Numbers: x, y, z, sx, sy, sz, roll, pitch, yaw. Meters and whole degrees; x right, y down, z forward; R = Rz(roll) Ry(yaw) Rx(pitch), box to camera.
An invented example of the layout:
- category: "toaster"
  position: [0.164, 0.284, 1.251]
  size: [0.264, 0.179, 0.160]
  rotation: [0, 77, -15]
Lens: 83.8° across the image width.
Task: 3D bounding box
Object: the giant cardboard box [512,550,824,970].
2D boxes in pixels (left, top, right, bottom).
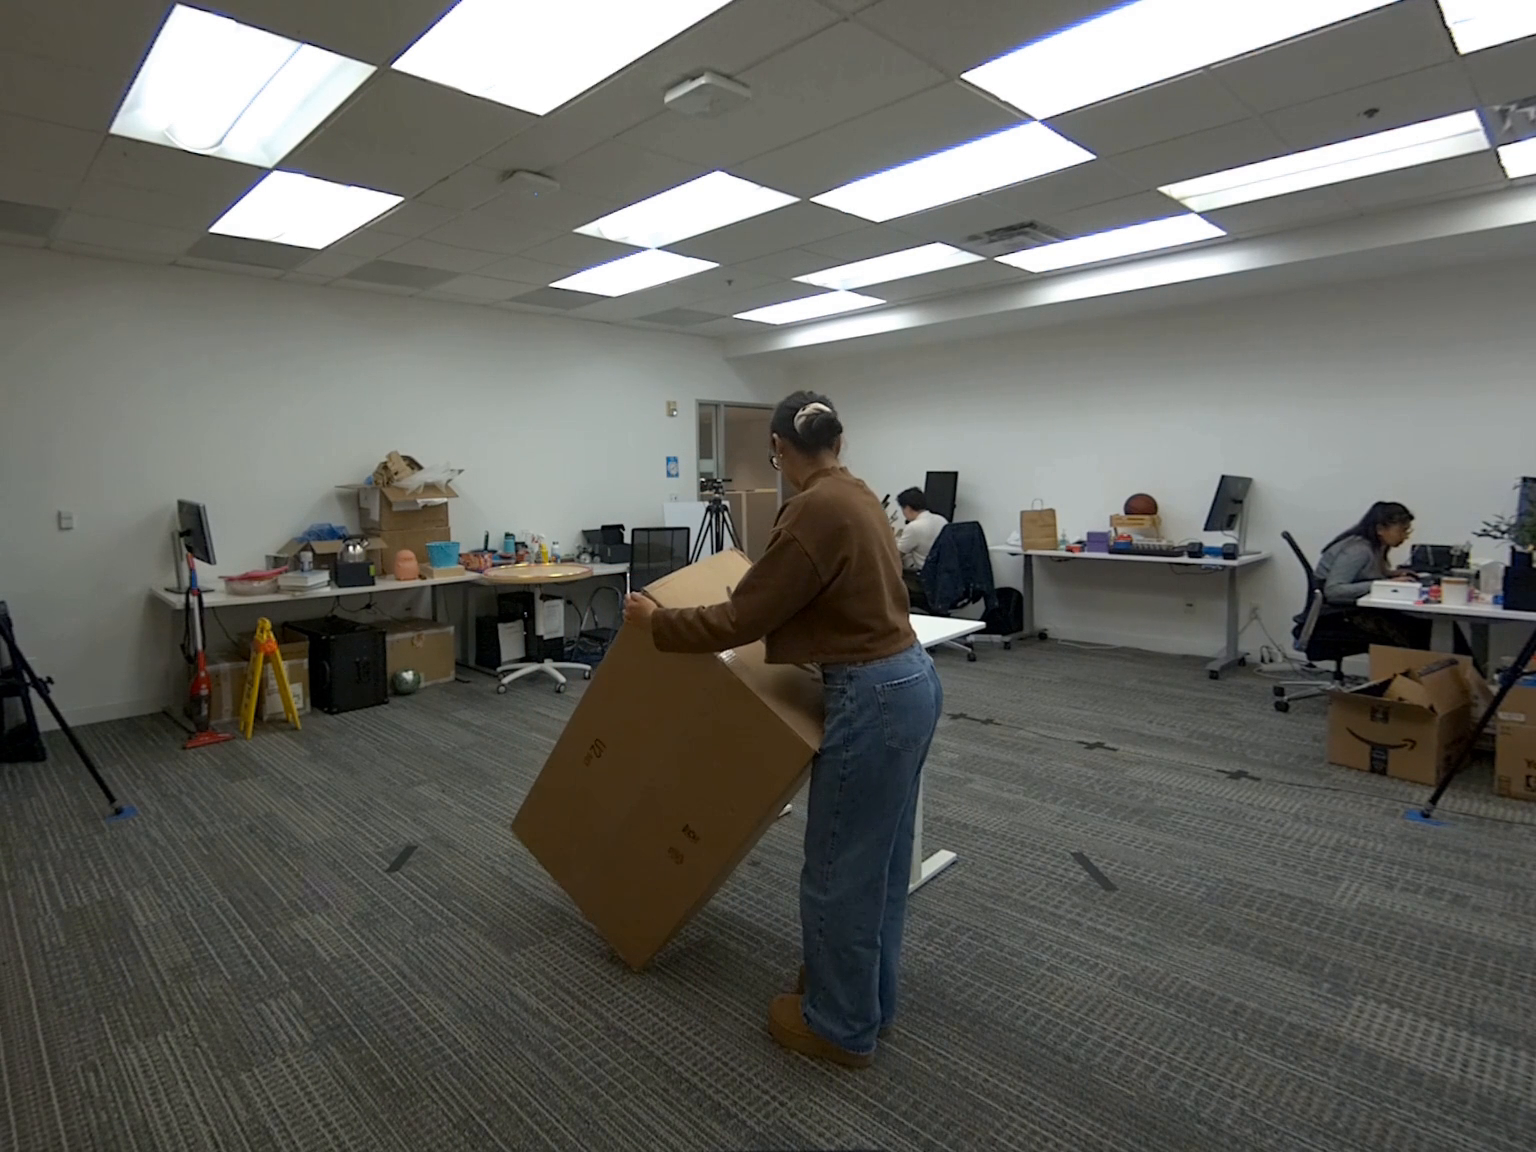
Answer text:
- category: "giant cardboard box"
  position: [-0.235, 0.529, 2.436]
  size: [0.590, 1.019, 0.420]
  rotation: [42, 31, 15]
